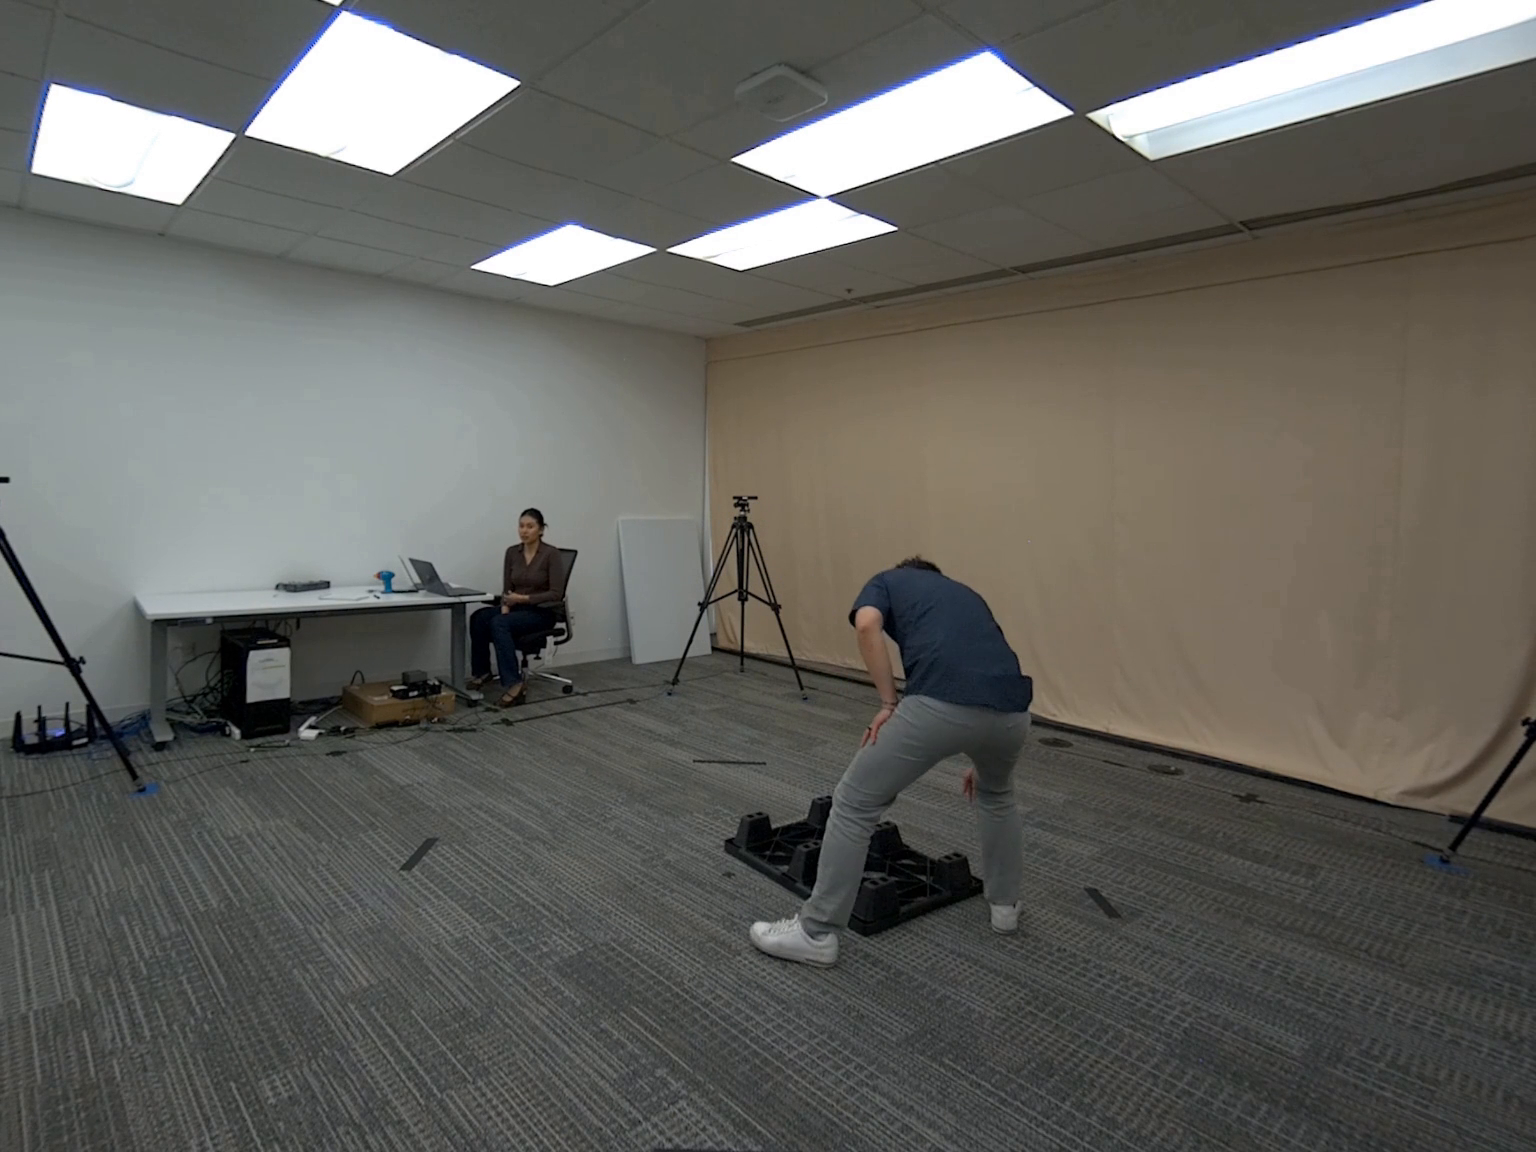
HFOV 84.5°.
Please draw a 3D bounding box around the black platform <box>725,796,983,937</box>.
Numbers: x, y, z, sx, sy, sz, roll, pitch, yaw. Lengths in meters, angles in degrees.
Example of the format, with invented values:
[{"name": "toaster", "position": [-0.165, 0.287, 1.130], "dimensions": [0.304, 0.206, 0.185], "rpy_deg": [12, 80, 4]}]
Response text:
[{"name": "black platform", "position": [0.299, 1.042, 3.168], "dimensions": [0.592, 0.143, 0.826], "rpy_deg": [-3, 7, -37]}]
